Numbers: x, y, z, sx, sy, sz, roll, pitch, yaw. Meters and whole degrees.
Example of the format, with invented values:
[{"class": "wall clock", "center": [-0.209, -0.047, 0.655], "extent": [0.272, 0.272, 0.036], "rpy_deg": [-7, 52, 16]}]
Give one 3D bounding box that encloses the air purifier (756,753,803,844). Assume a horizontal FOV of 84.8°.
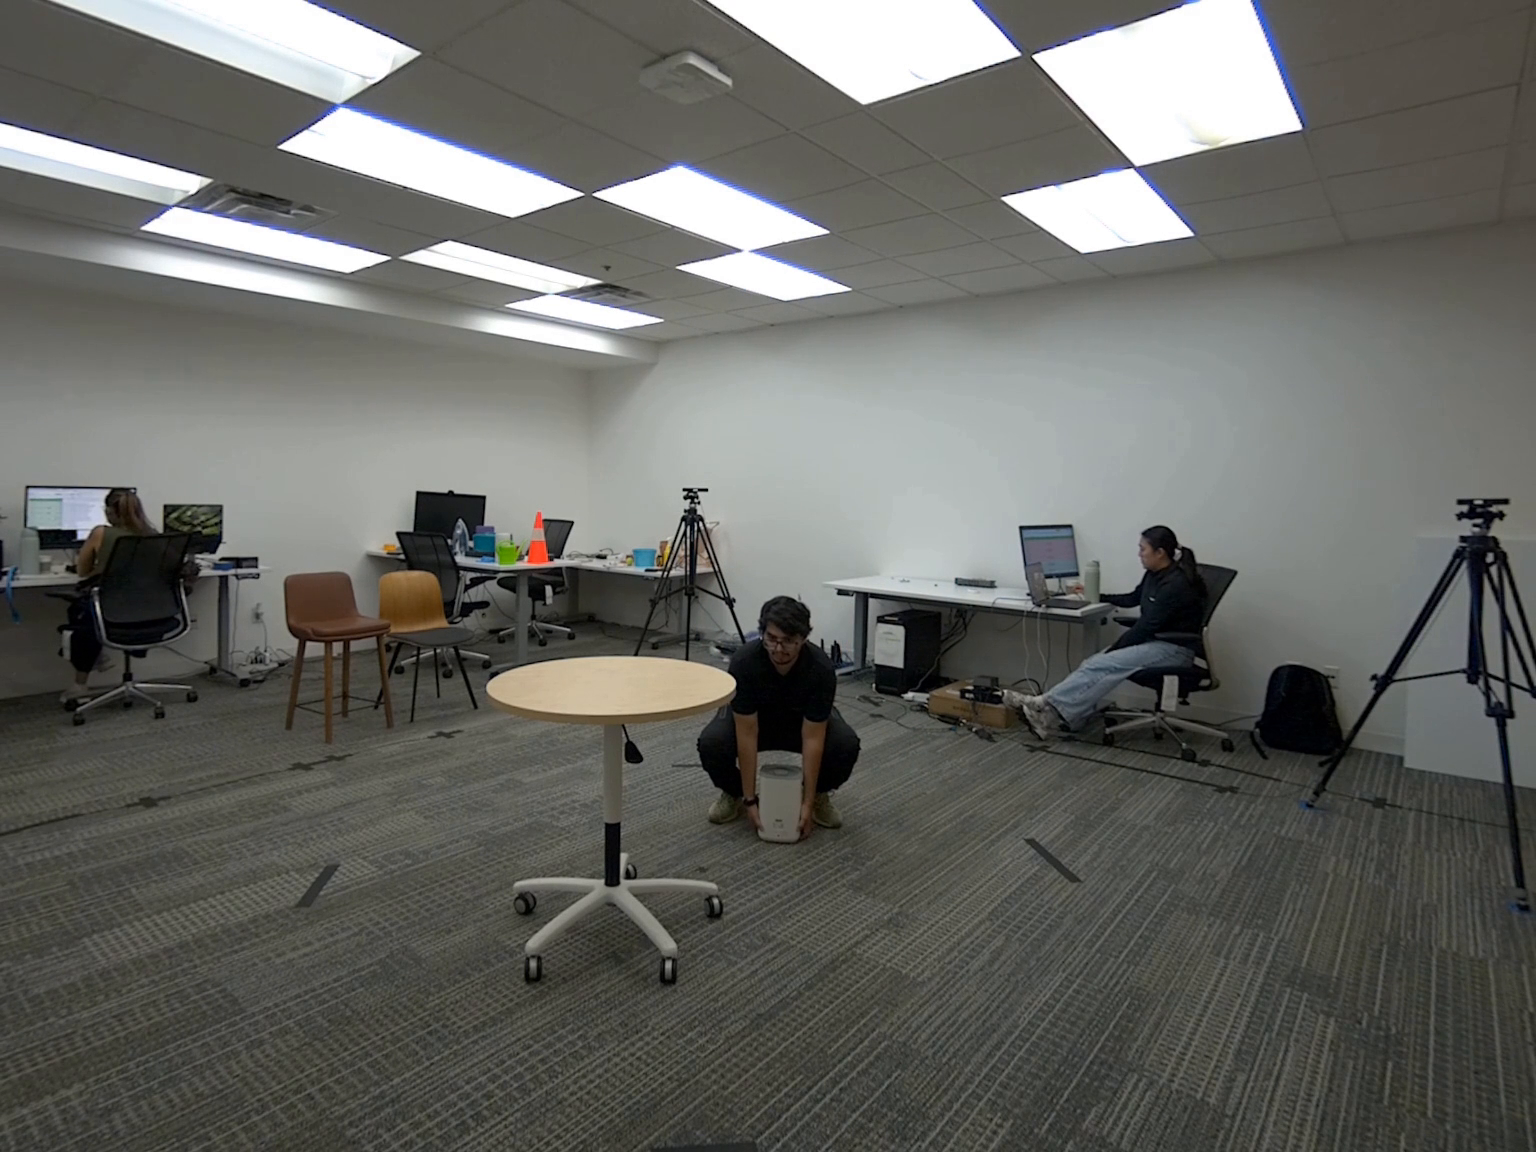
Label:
[{"class": "air purifier", "center": [0.048, 0.914, 3.429], "extent": [0.170, 0.261, 0.172], "rpy_deg": [2, 3, 8]}]
